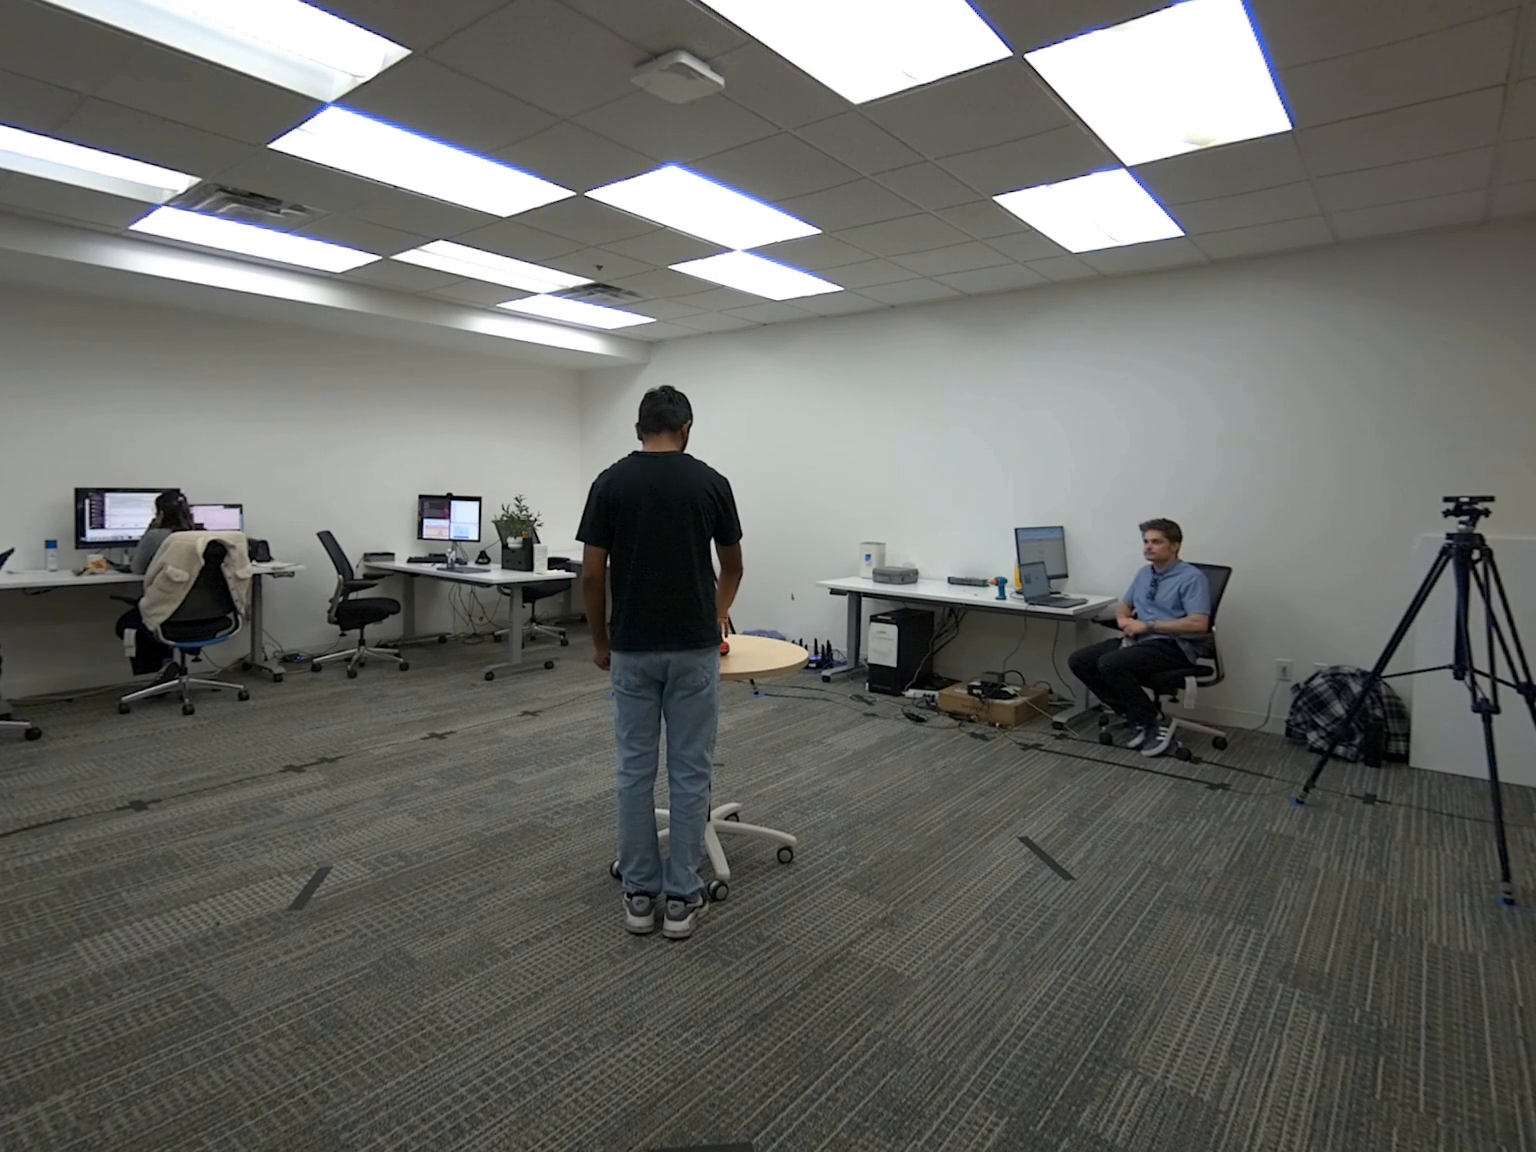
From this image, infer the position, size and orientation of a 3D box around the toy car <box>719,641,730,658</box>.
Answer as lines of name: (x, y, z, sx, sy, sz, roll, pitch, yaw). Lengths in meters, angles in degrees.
toy car: (-0.269, 0.249, 3.143, 0.126, 0.082, 0.265, -5, 19, -45)
